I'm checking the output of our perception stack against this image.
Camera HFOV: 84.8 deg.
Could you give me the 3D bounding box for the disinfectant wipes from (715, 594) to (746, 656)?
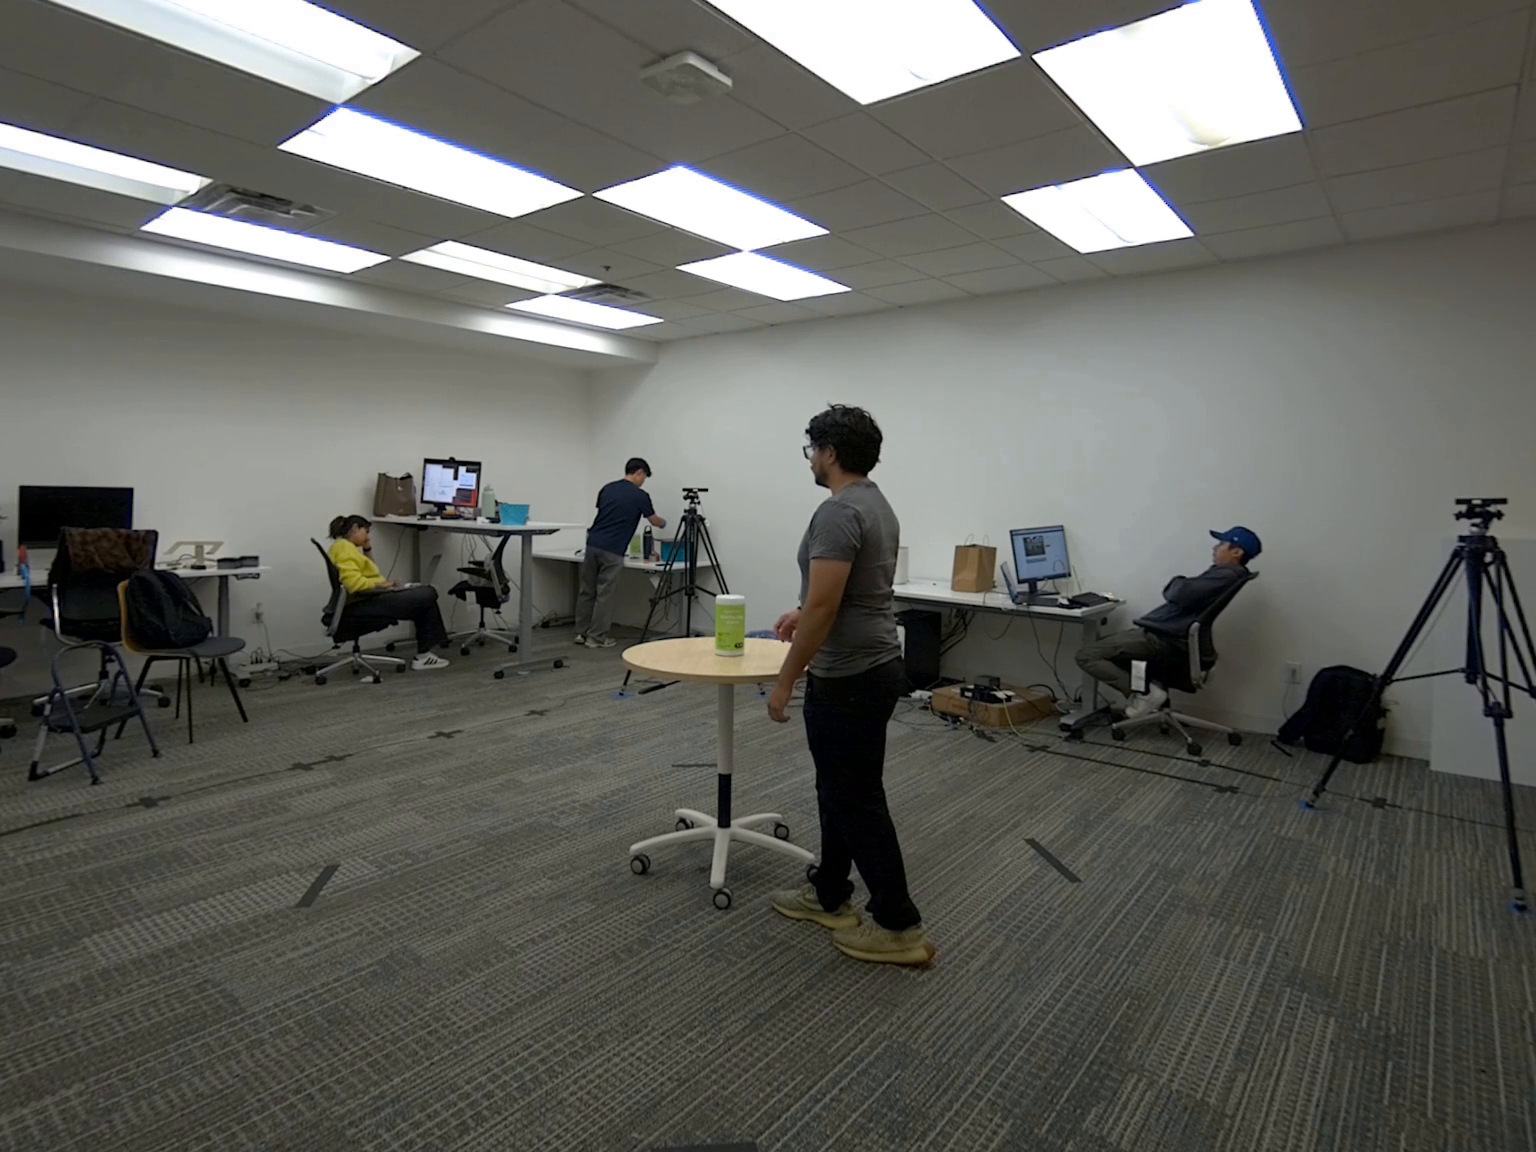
[{"bbox_3d":[-0.154,0.180,3.129,0.118,0.217,0.118,0,4,-2],"label":"disinfectant wipes"}]
